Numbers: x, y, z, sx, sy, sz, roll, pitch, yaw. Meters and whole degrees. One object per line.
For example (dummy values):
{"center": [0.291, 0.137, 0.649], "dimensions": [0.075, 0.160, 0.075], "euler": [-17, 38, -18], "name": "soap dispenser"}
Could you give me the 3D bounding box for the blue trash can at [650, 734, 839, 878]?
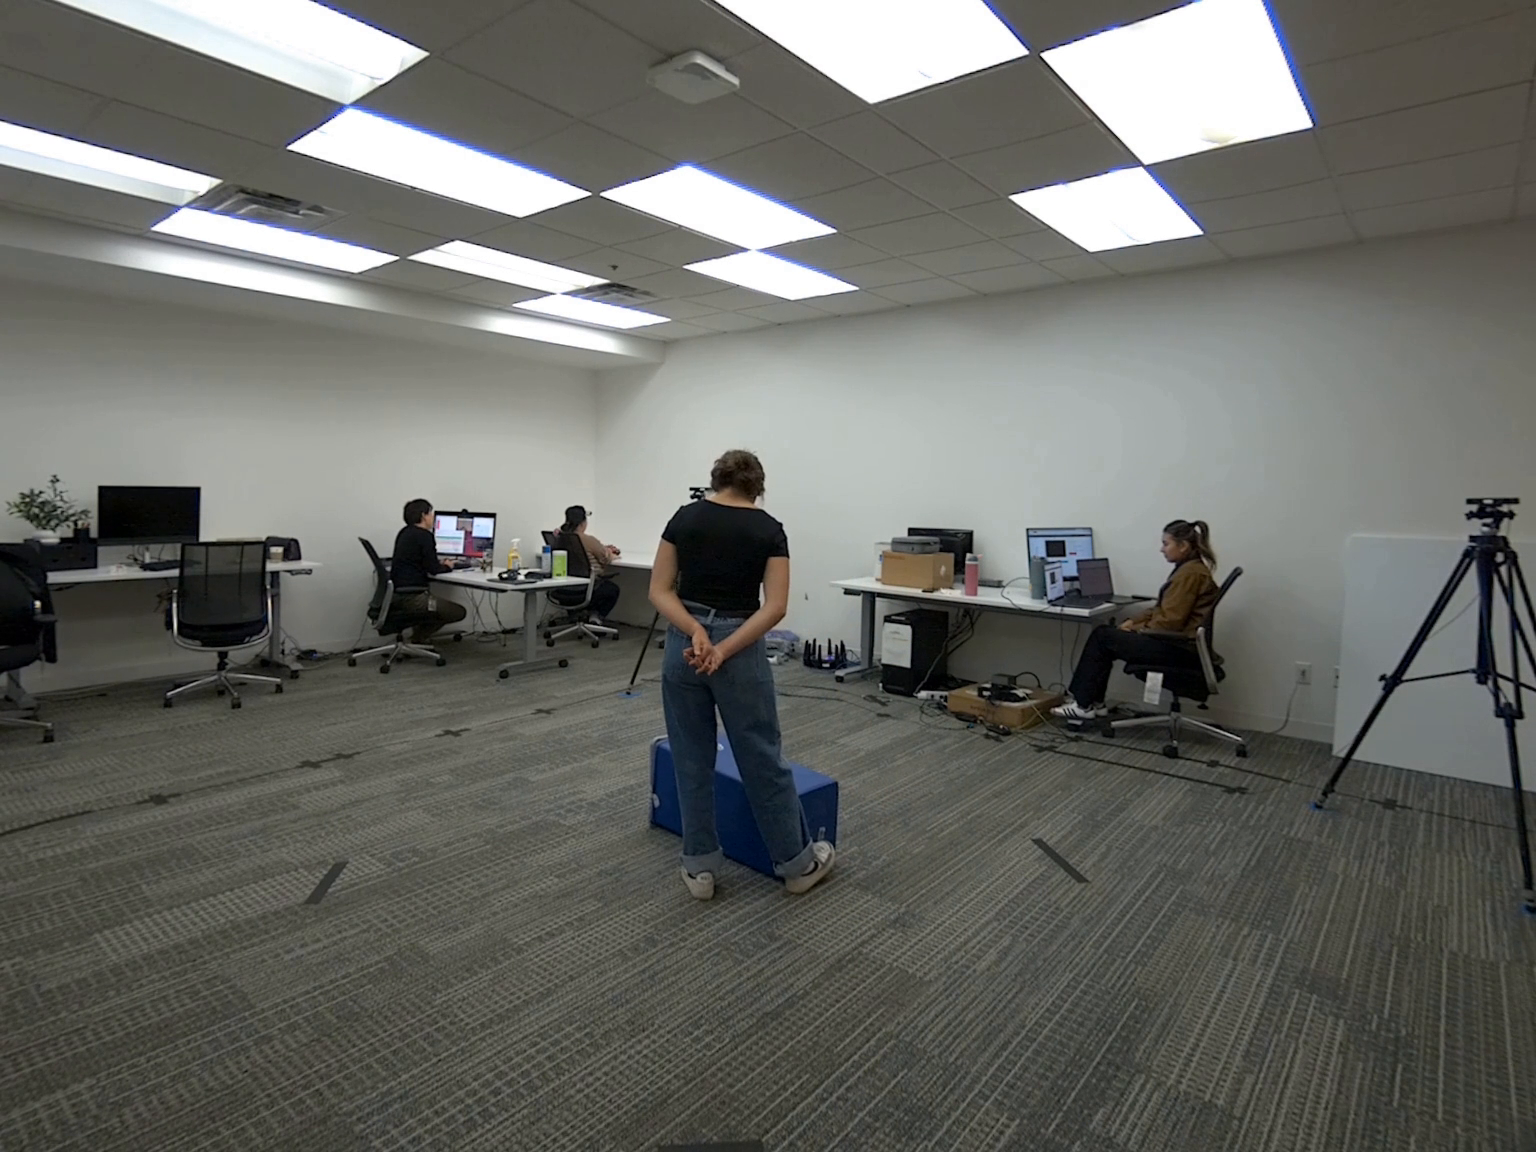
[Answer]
{"center": [-0.111, 0.878, 3.351], "dimensions": [0.739, 0.376, 0.363], "euler": [9, 9, 42], "name": "blue trash can"}
